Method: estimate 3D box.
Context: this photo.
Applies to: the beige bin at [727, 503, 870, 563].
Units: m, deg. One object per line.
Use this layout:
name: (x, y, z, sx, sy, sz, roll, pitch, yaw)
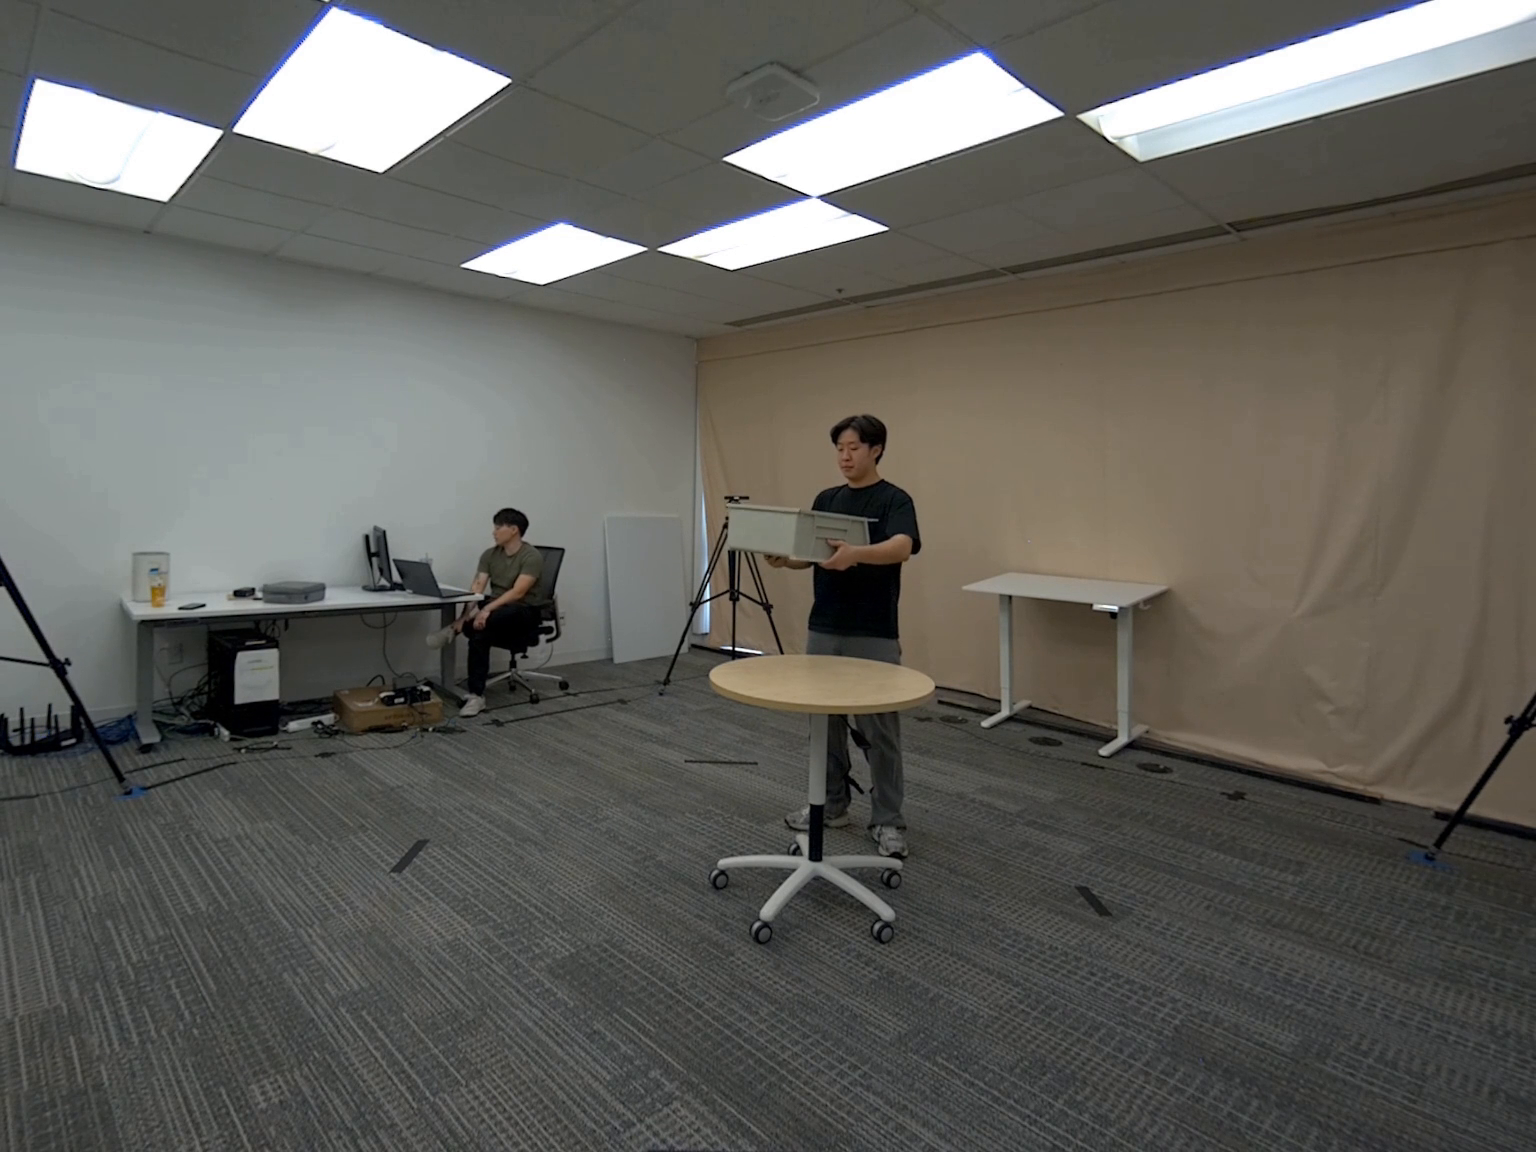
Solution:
beige bin: (0.093, -0.156, 3.198, 0.368, 0.188, 0.433, 2, 5, -40)
